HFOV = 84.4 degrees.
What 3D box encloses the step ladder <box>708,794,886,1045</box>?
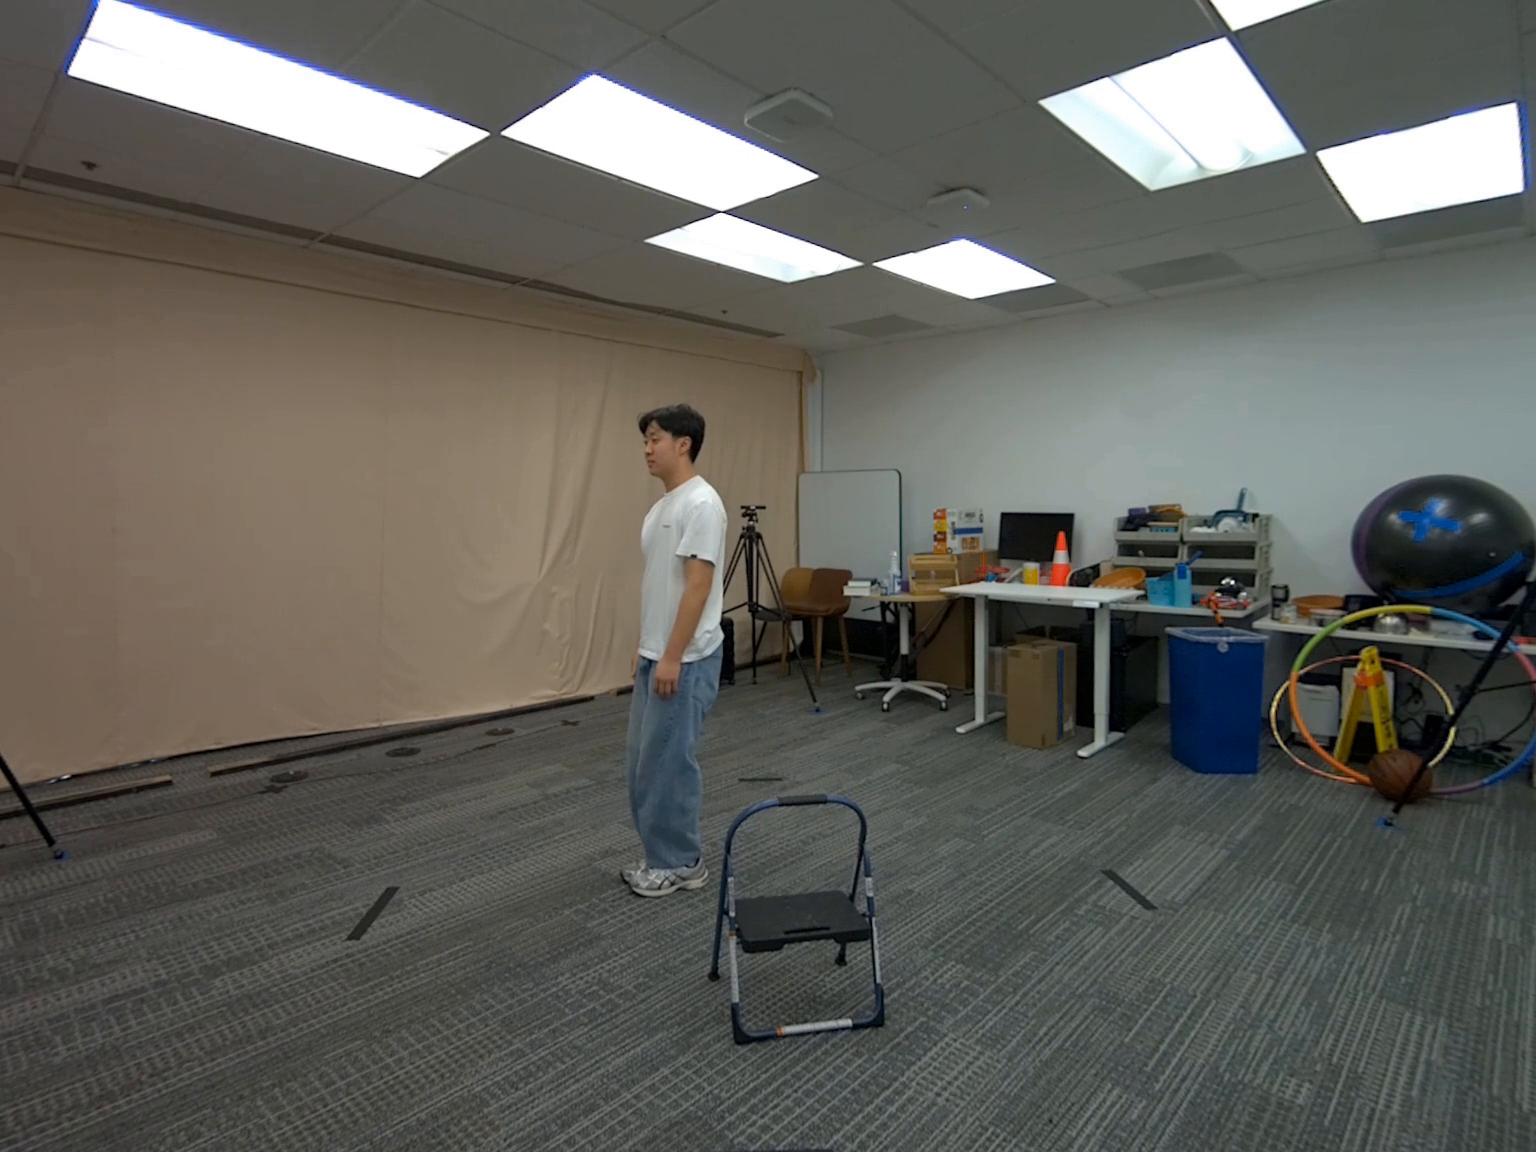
[{"bbox_3d":[0.072,0.897,2.360,0.425,0.605,0.355,-1,3,-13],"label":"step ladder"}]
